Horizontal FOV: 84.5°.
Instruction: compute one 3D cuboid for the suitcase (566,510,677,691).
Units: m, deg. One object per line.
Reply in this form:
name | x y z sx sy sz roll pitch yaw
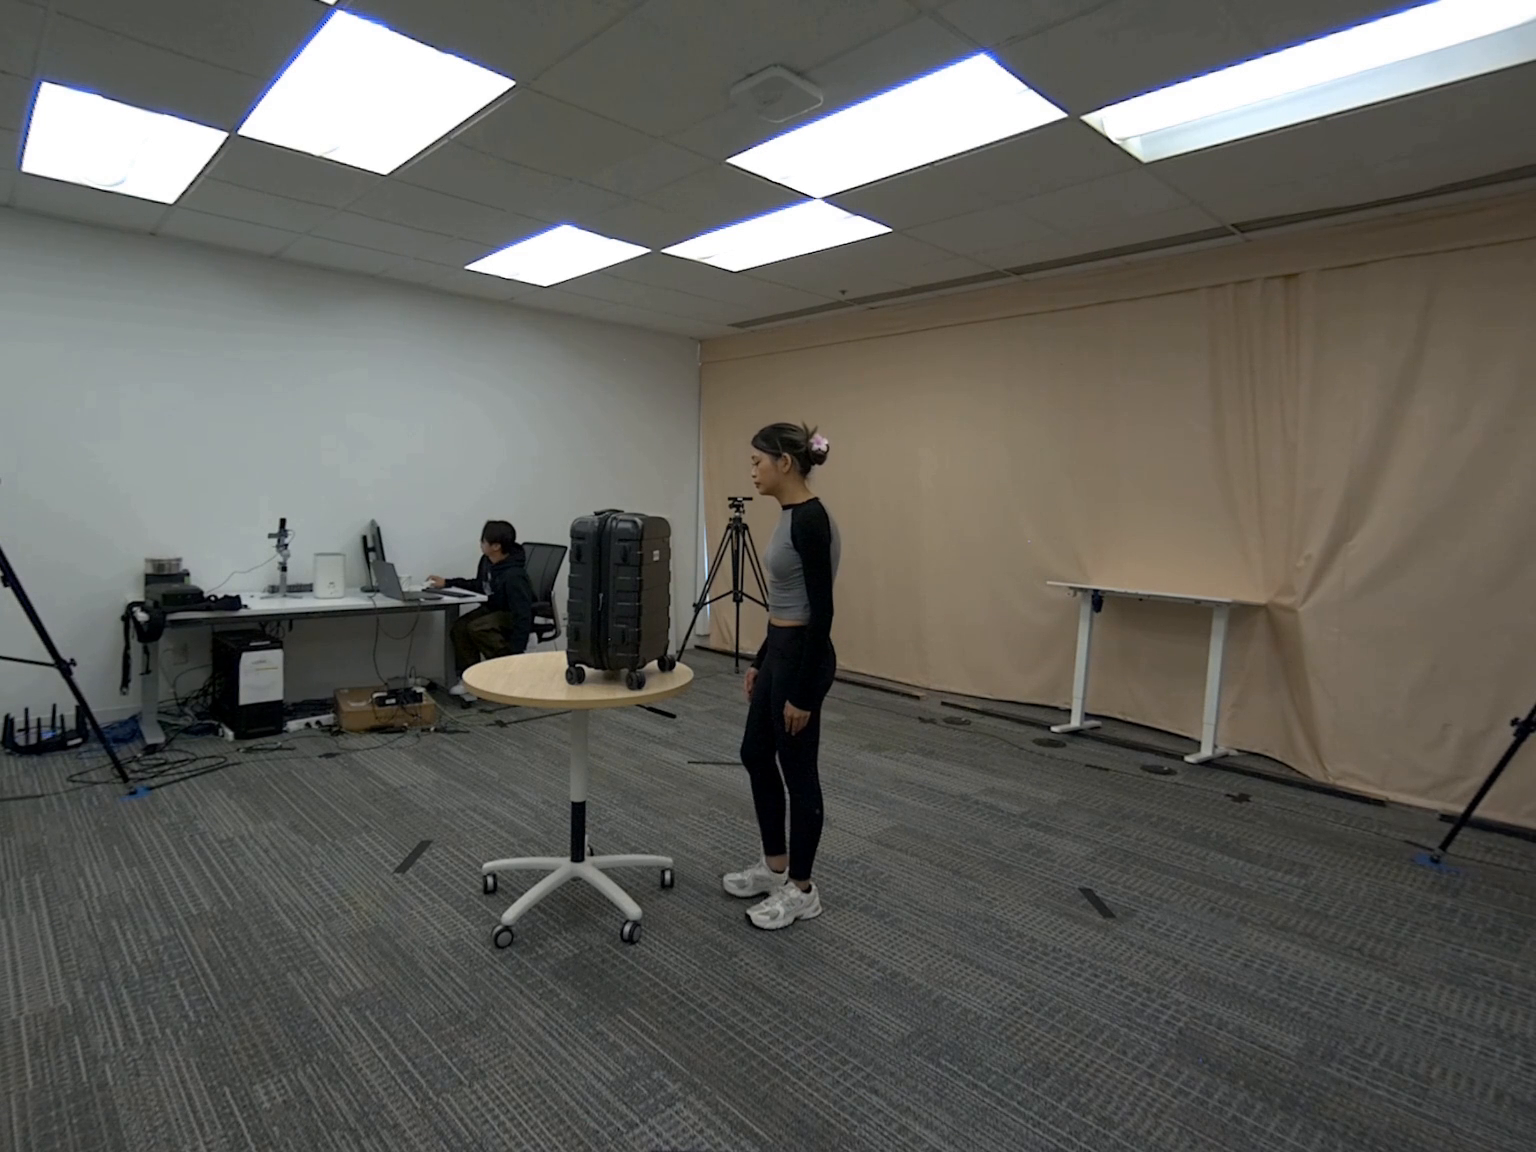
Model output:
suitcase | -0.486 0.057 2.797 0.251 0.548 0.372 2 3 13
